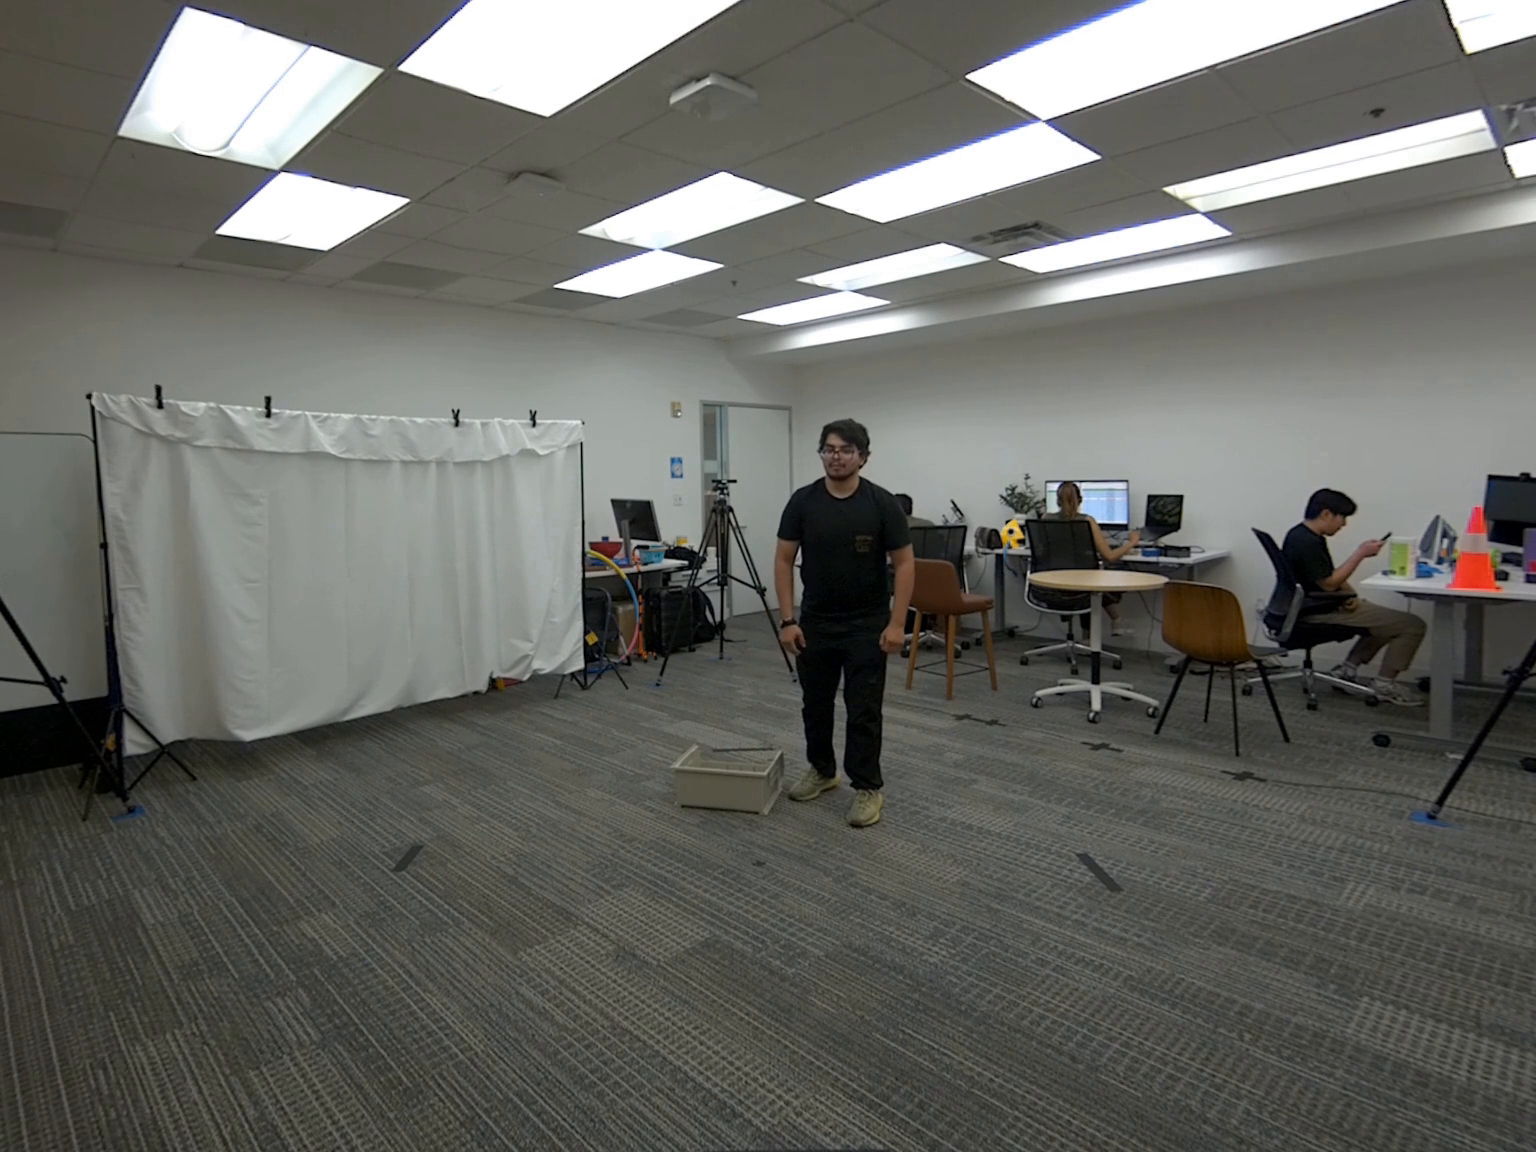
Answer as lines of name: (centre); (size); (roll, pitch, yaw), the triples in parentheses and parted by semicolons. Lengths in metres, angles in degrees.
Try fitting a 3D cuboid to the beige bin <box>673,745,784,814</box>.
beige bin: (-0.168, 0.884, 3.783); (0.429, 0.188, 0.374); (2, 8, 15)
